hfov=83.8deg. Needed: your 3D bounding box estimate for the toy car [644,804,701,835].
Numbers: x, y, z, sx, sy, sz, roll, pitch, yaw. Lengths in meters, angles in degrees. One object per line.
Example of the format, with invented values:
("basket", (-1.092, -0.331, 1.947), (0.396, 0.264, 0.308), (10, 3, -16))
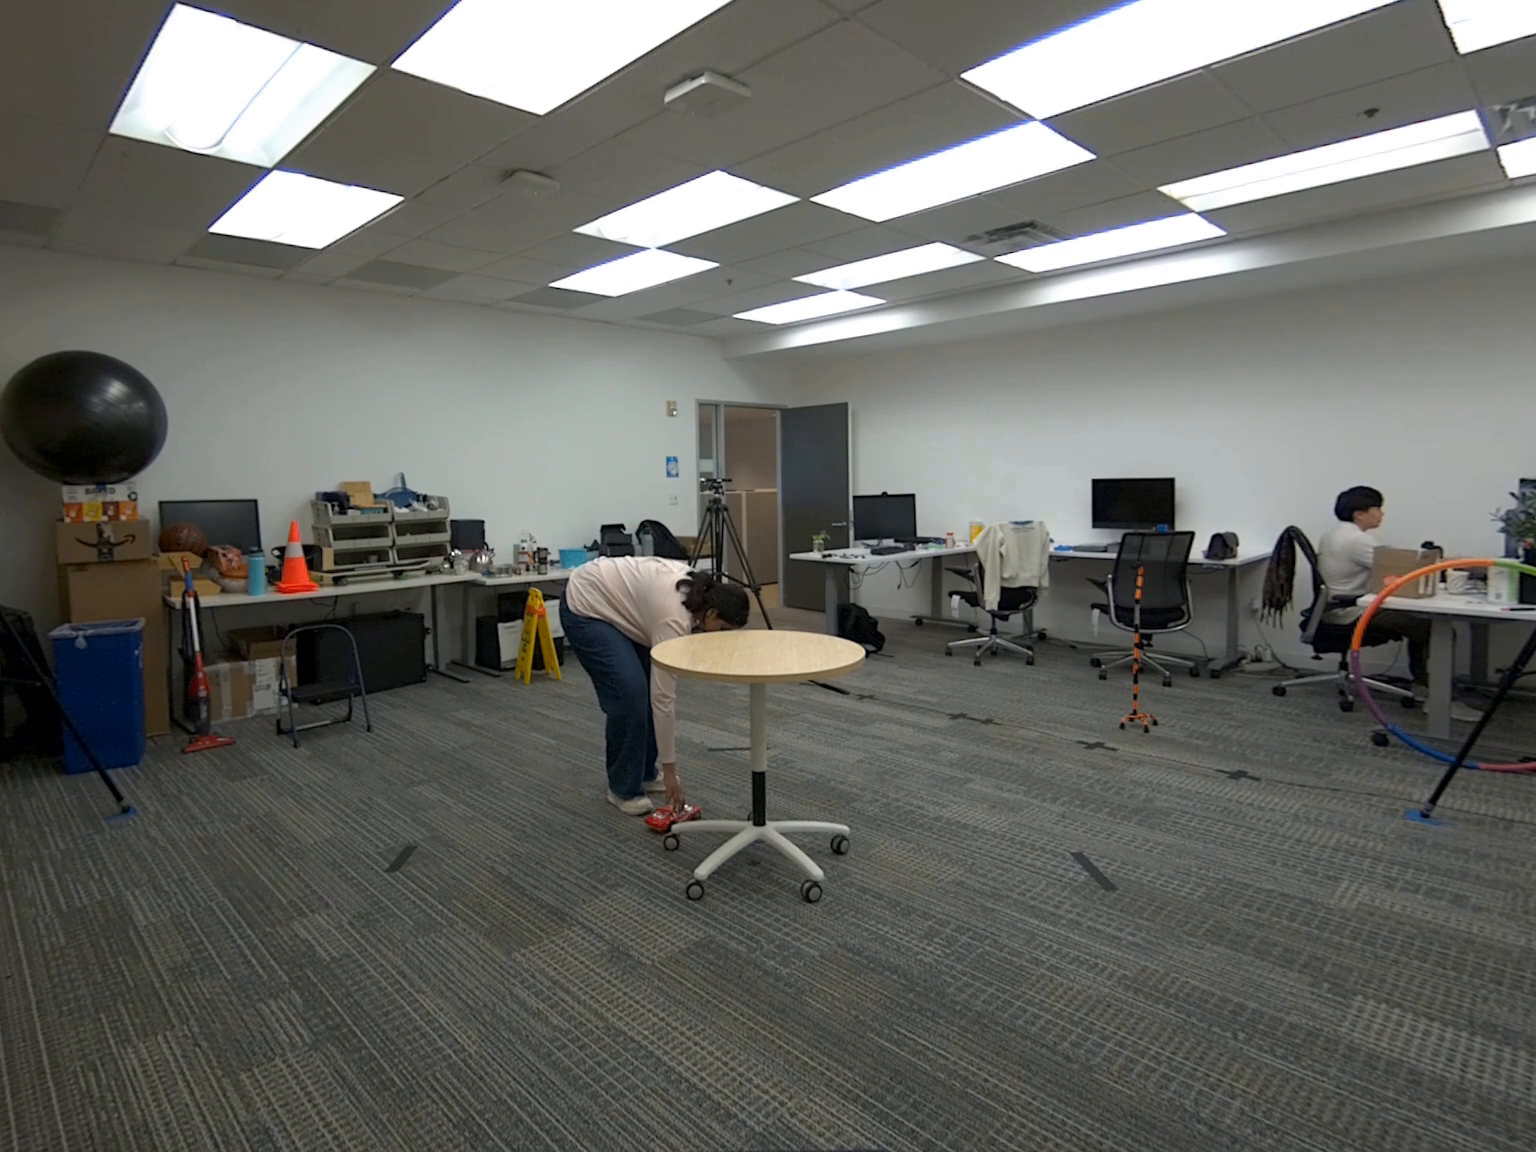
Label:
("toy car", (-0.390, 0.978, 3.458), (0.134, 0.083, 0.246), (4, -3, 43))
